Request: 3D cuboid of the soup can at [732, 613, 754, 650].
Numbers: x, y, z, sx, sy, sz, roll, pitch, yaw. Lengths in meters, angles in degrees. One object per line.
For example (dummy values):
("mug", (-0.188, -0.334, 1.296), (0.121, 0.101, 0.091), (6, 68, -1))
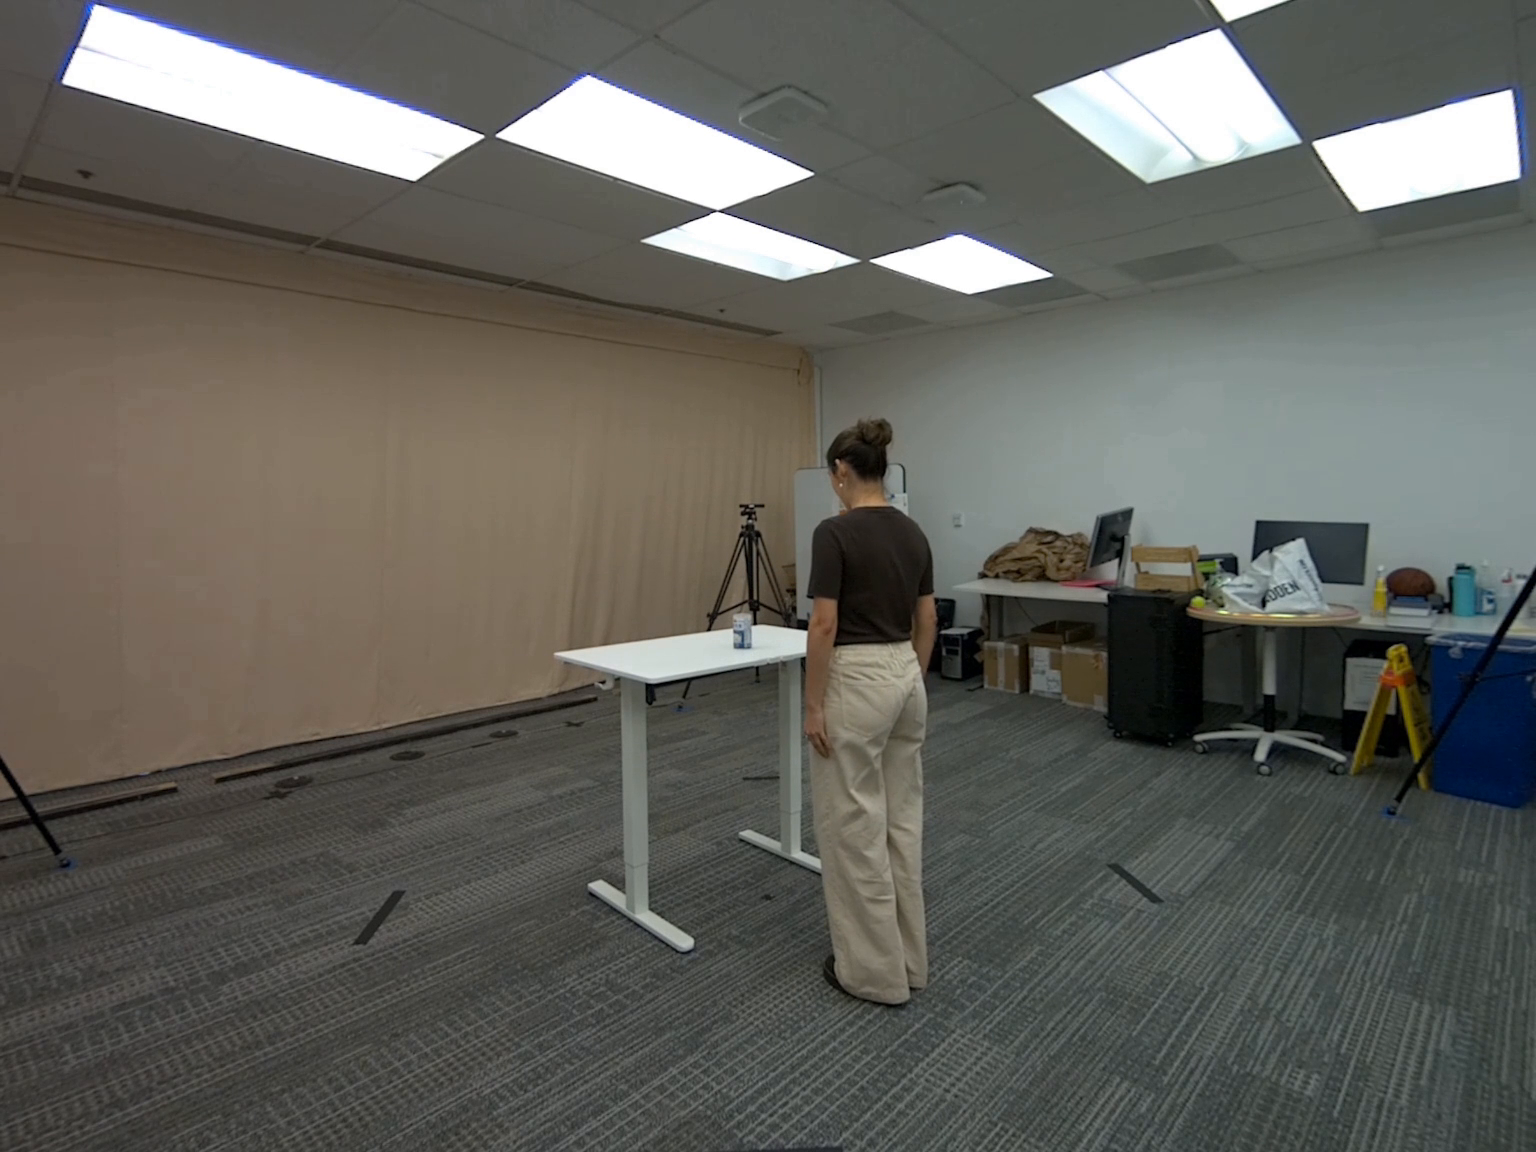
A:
("soup can", (-0.084, 0.198, 2.994), (0.067, 0.121, 0.067), (-3, 3, -2))
